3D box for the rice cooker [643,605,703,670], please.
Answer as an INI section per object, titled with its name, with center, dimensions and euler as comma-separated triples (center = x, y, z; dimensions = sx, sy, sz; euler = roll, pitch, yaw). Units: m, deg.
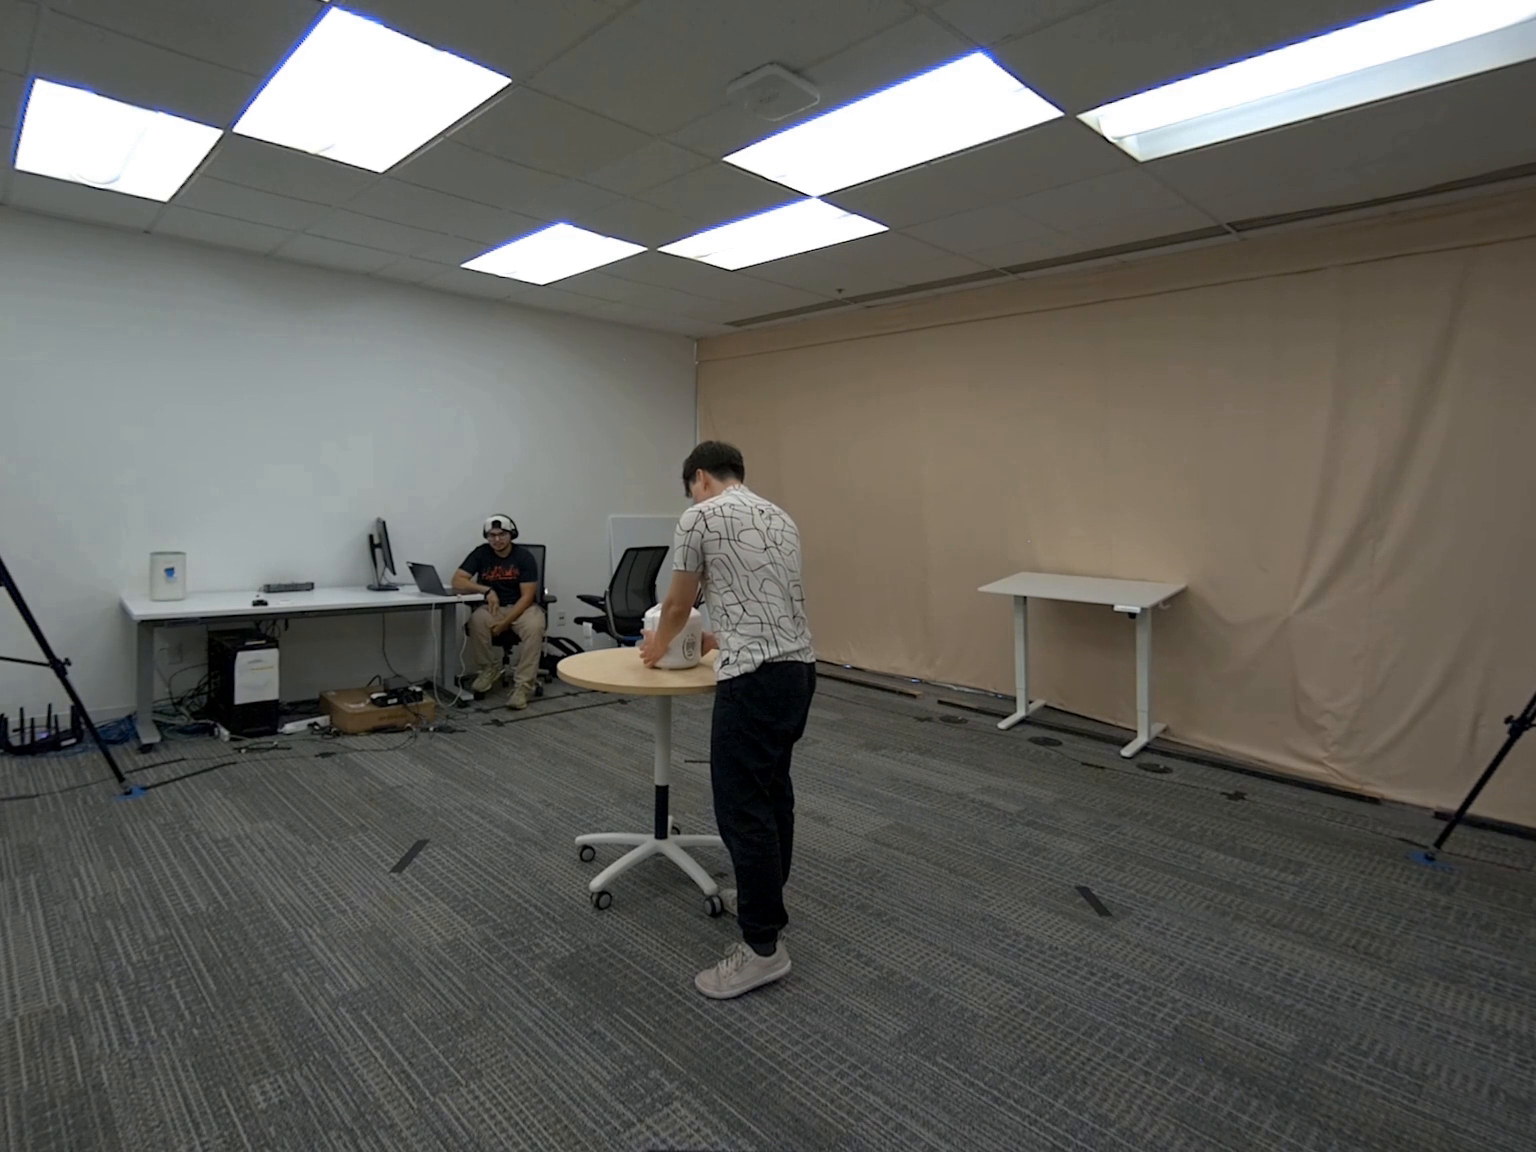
[rice cooker]
center = -0.347, 0.207, 3.034
dimensions = 0.215, 0.232, 0.223
euler = -1, 5, -41
